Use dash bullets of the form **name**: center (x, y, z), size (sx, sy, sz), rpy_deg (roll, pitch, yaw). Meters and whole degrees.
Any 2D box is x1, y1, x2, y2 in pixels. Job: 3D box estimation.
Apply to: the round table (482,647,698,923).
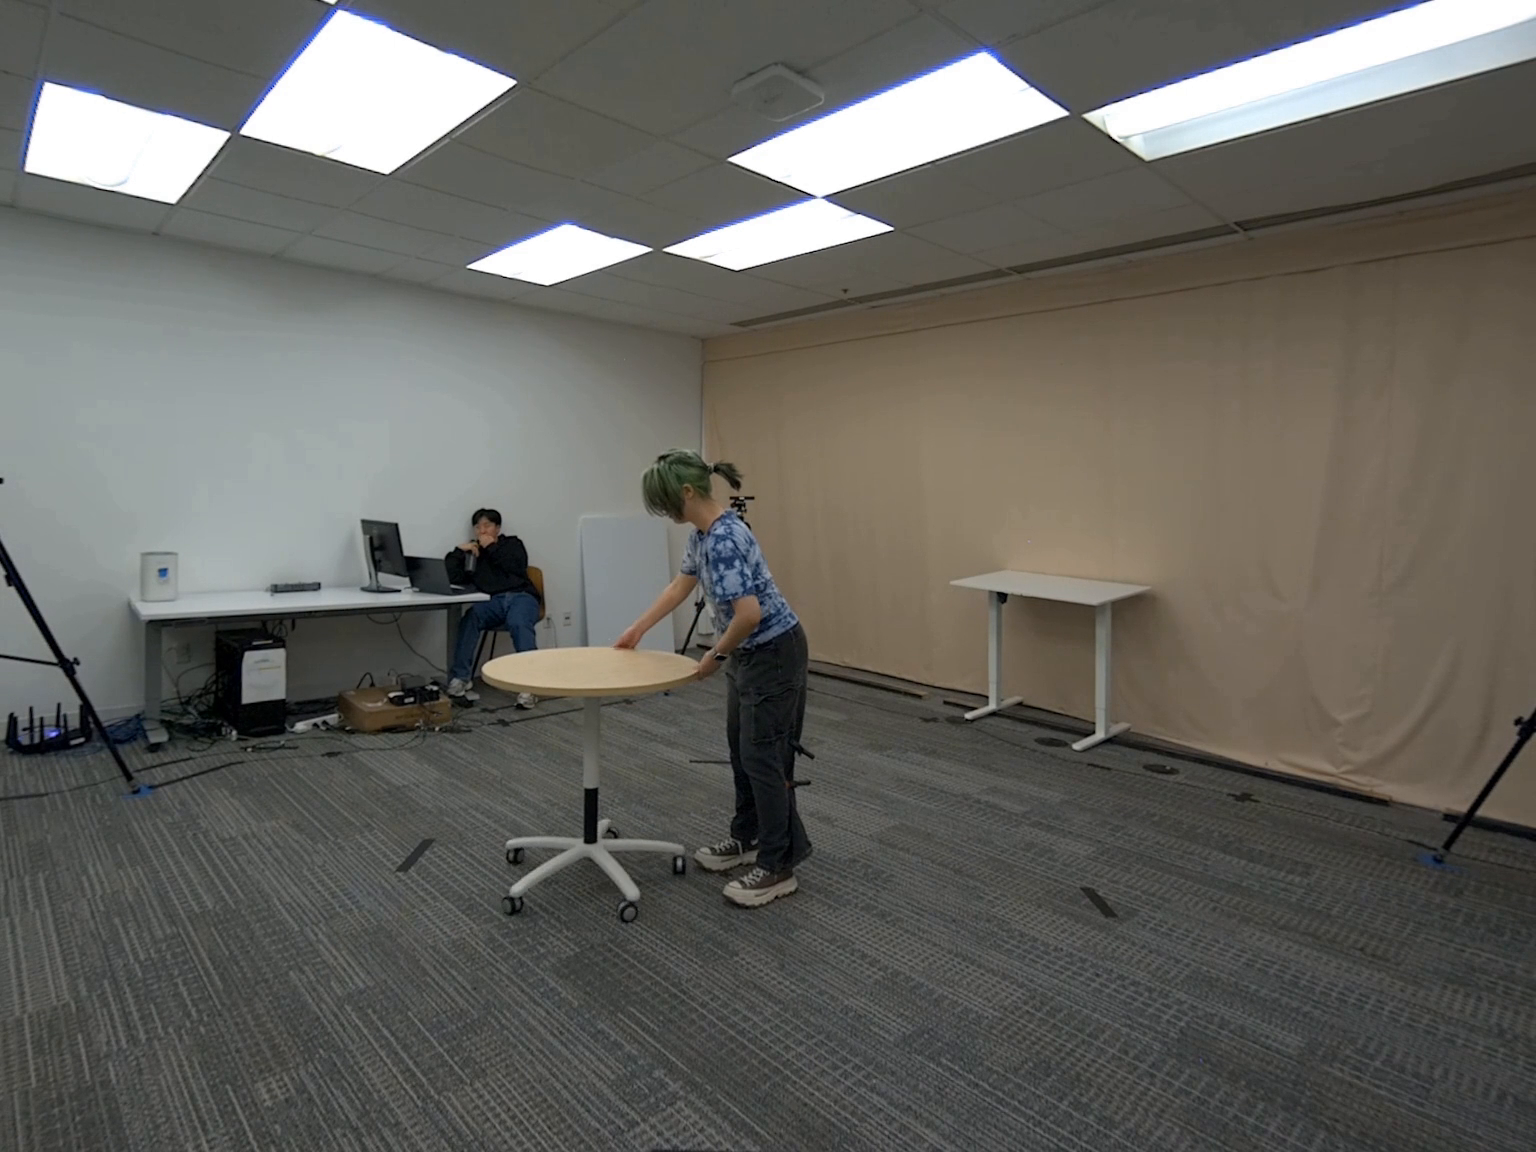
- **round table**: center (-0.647, 0.712, 3.025), size (0.763, 0.792, 0.766), rpy_deg (1, 4, -1)
